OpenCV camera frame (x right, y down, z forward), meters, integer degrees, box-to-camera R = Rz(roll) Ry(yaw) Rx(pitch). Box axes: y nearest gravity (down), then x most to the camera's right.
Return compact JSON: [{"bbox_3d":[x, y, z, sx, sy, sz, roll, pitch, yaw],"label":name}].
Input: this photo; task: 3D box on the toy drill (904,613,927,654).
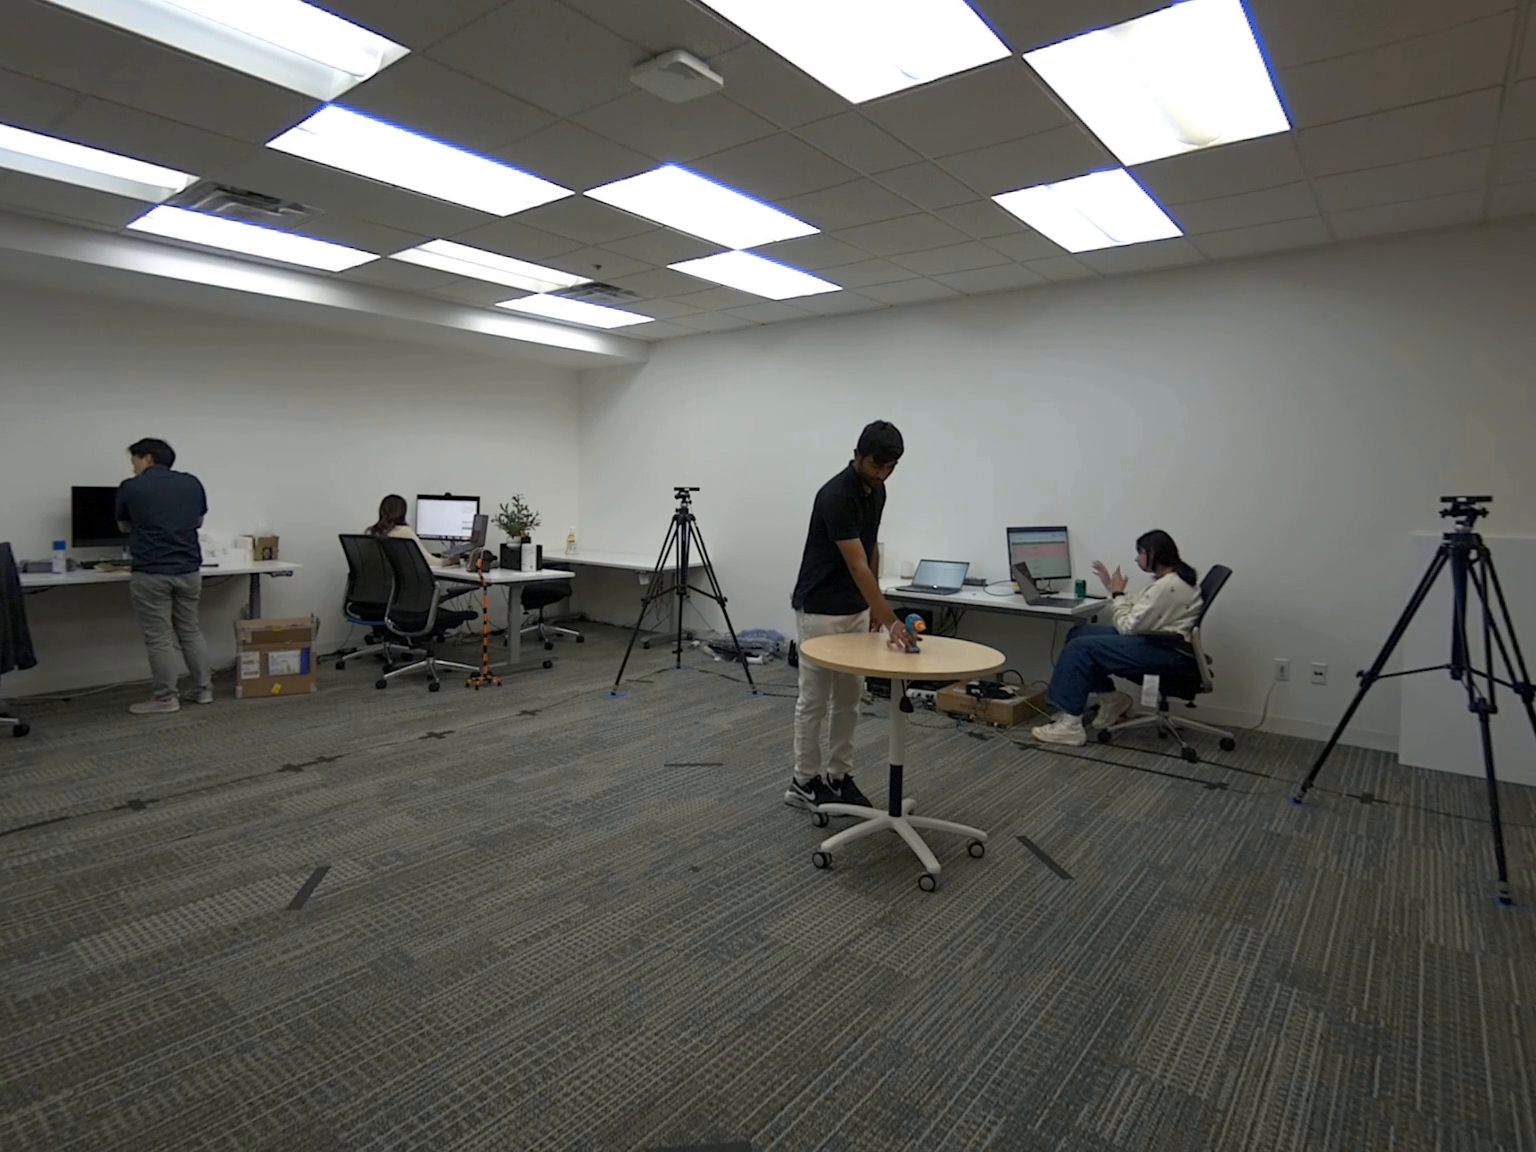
[{"bbox_3d":[0.540,0.214,3.197,0.060,0.145,0.172,-7,6,-10],"label":"toy drill"}]
